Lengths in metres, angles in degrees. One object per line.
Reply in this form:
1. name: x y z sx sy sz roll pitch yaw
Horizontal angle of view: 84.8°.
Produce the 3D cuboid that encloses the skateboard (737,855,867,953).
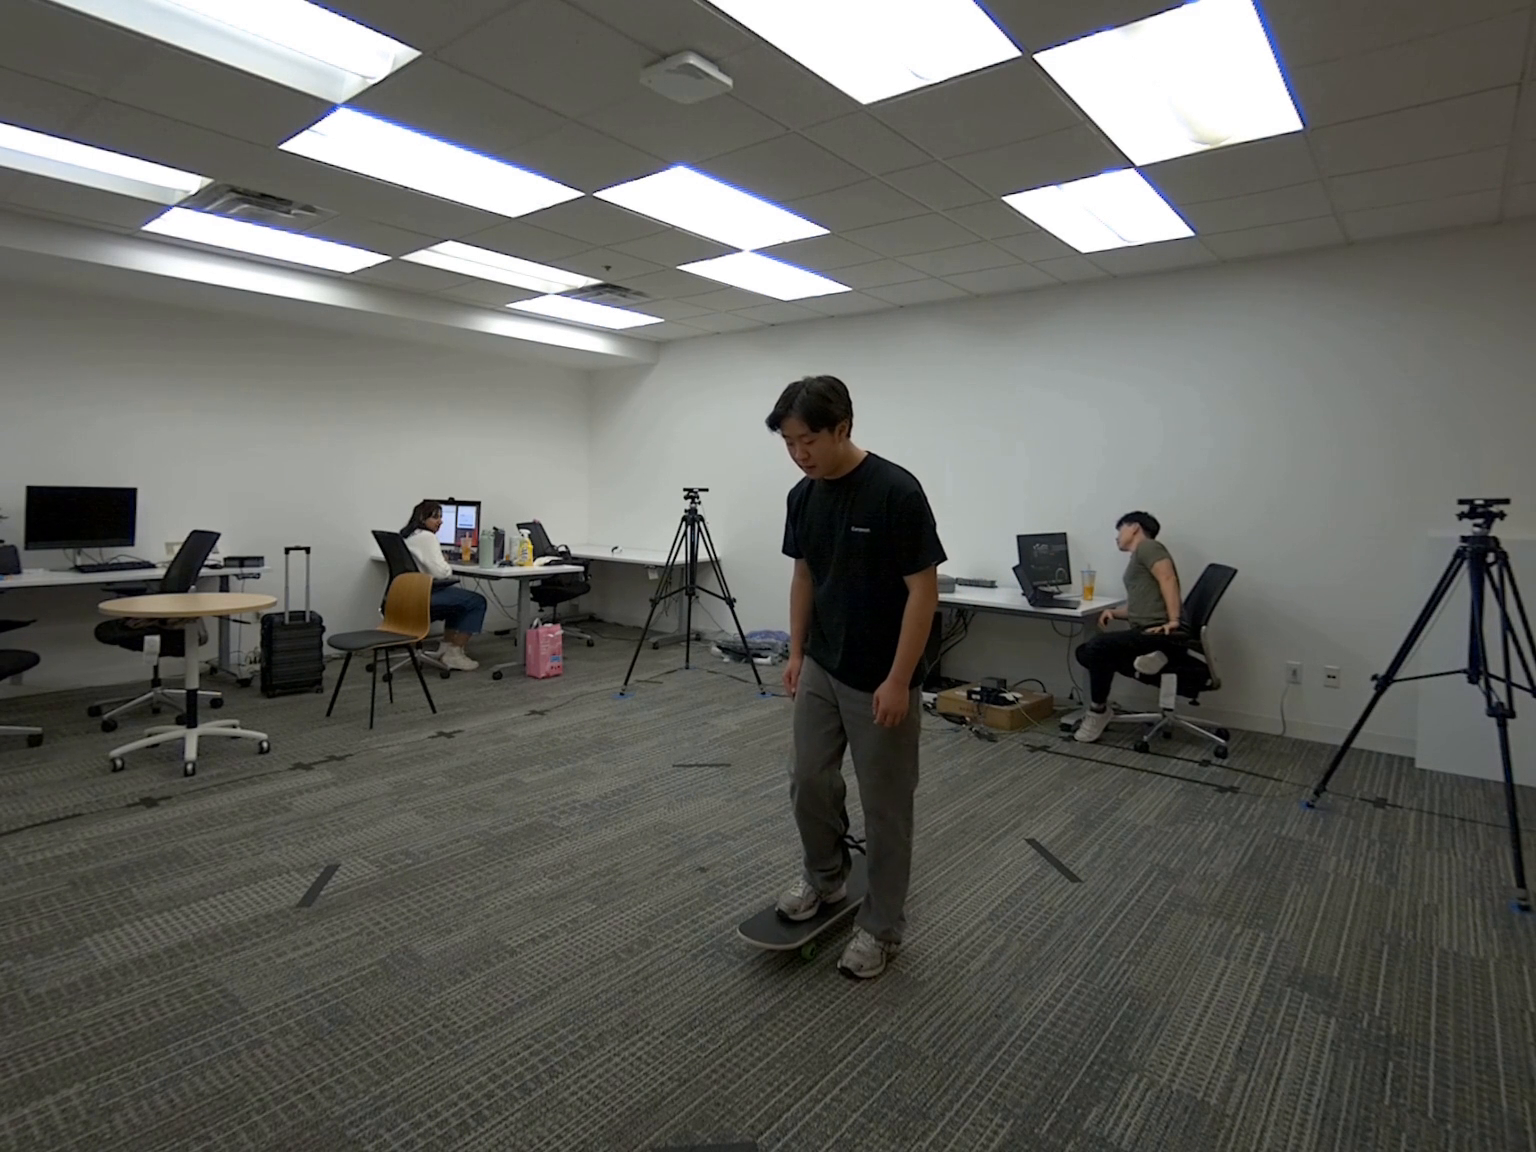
1. skateboard: 0.170 1.067 2.724 0.200 0.110 0.762 5 6 38
